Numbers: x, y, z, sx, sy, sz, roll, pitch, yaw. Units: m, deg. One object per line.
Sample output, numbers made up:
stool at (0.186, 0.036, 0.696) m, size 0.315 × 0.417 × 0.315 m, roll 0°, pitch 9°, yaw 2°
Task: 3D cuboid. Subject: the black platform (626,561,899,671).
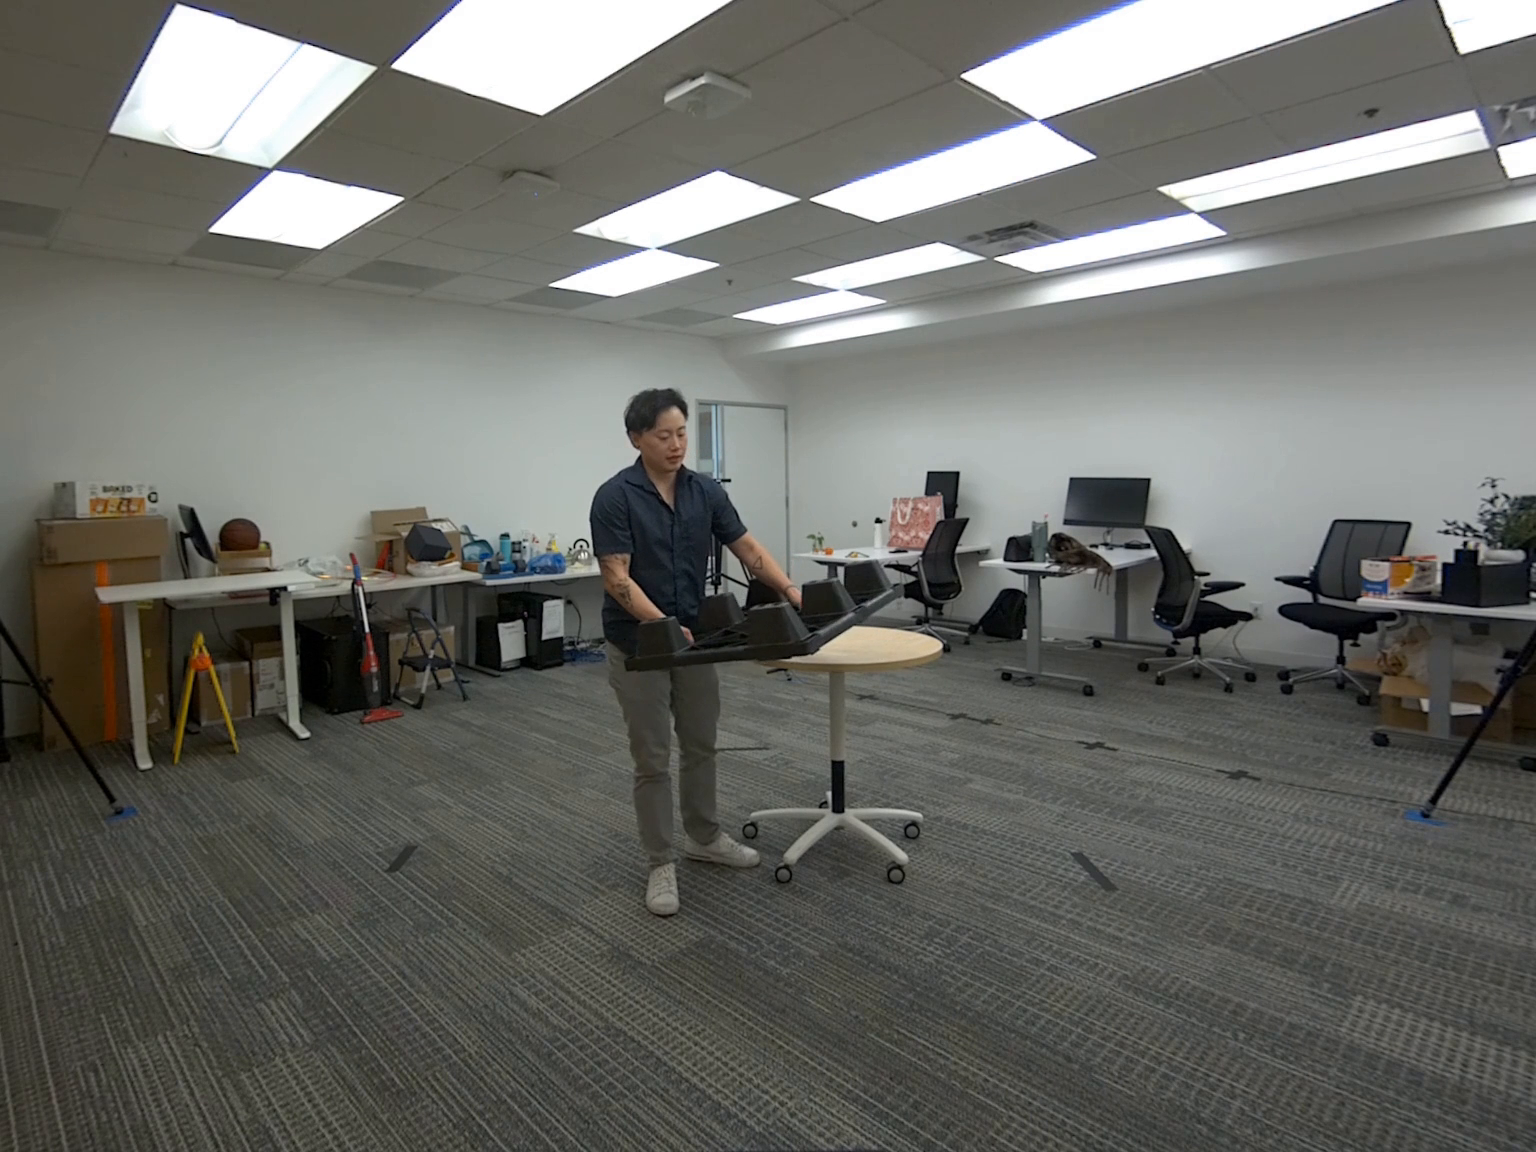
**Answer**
black platform at (0.013, 0.111, 2.643) m, size 0.617 × 0.143 × 0.792 m, roll -9°, pitch 6°, yaw 29°
